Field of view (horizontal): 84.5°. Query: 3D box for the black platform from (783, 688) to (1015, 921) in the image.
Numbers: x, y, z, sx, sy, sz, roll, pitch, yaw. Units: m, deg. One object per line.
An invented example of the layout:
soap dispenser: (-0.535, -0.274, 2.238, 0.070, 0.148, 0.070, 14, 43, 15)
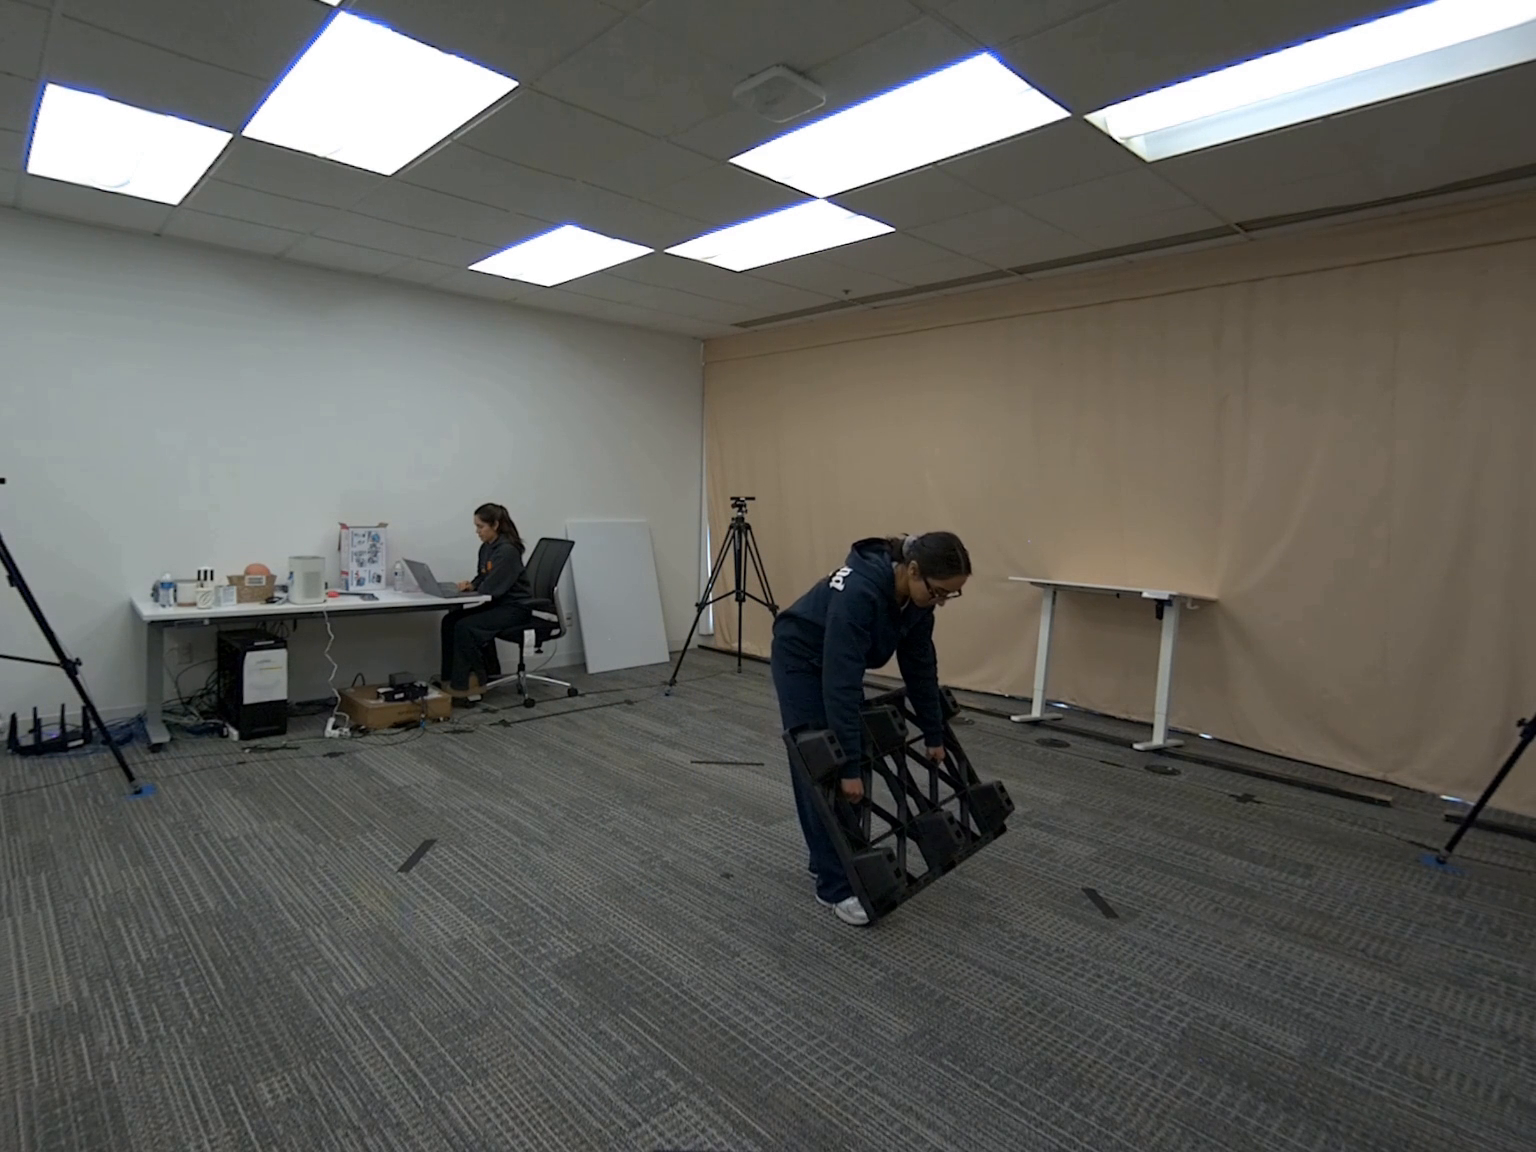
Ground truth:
black platform: (0.472, 0.670, 2.766, 0.789, 0.615, 0.144, -9, -24, -47)
